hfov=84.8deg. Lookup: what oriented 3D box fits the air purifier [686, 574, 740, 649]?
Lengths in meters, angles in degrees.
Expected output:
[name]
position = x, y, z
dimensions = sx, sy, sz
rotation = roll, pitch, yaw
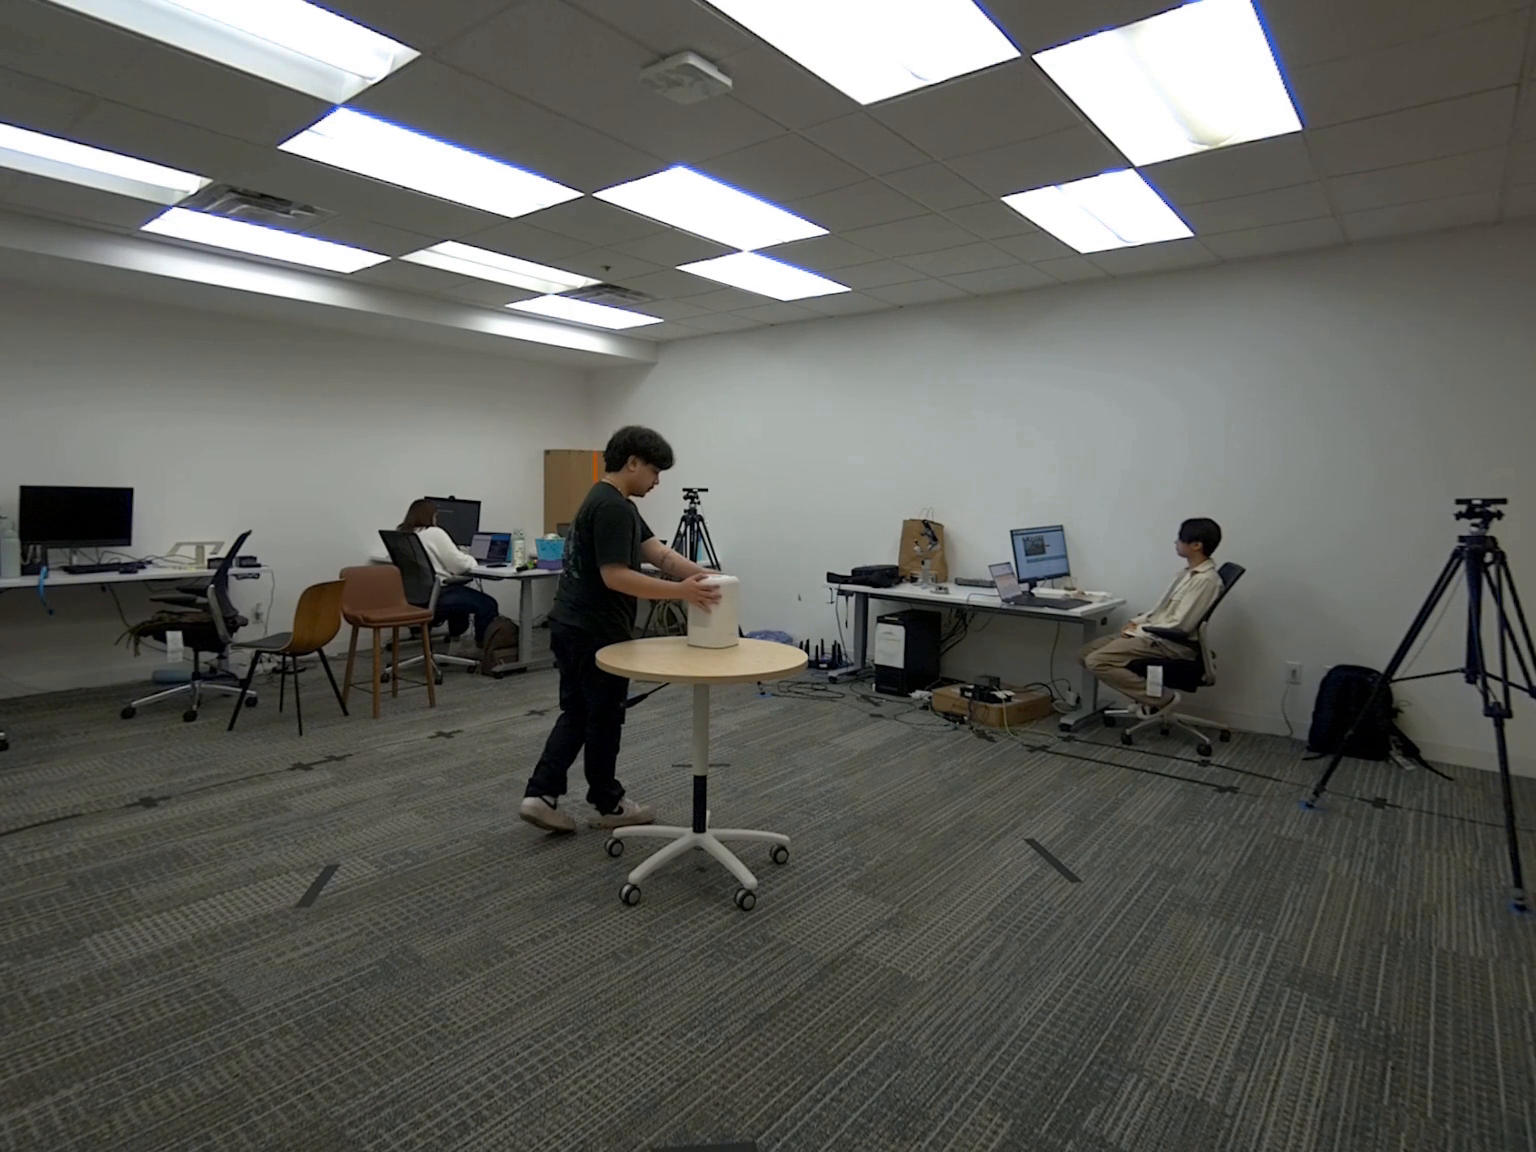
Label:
[air purifier]
position = -0.222, 0.131, 3.265
dimensions = 0.176, 0.265, 0.166
rotation = 3, 2, 30
